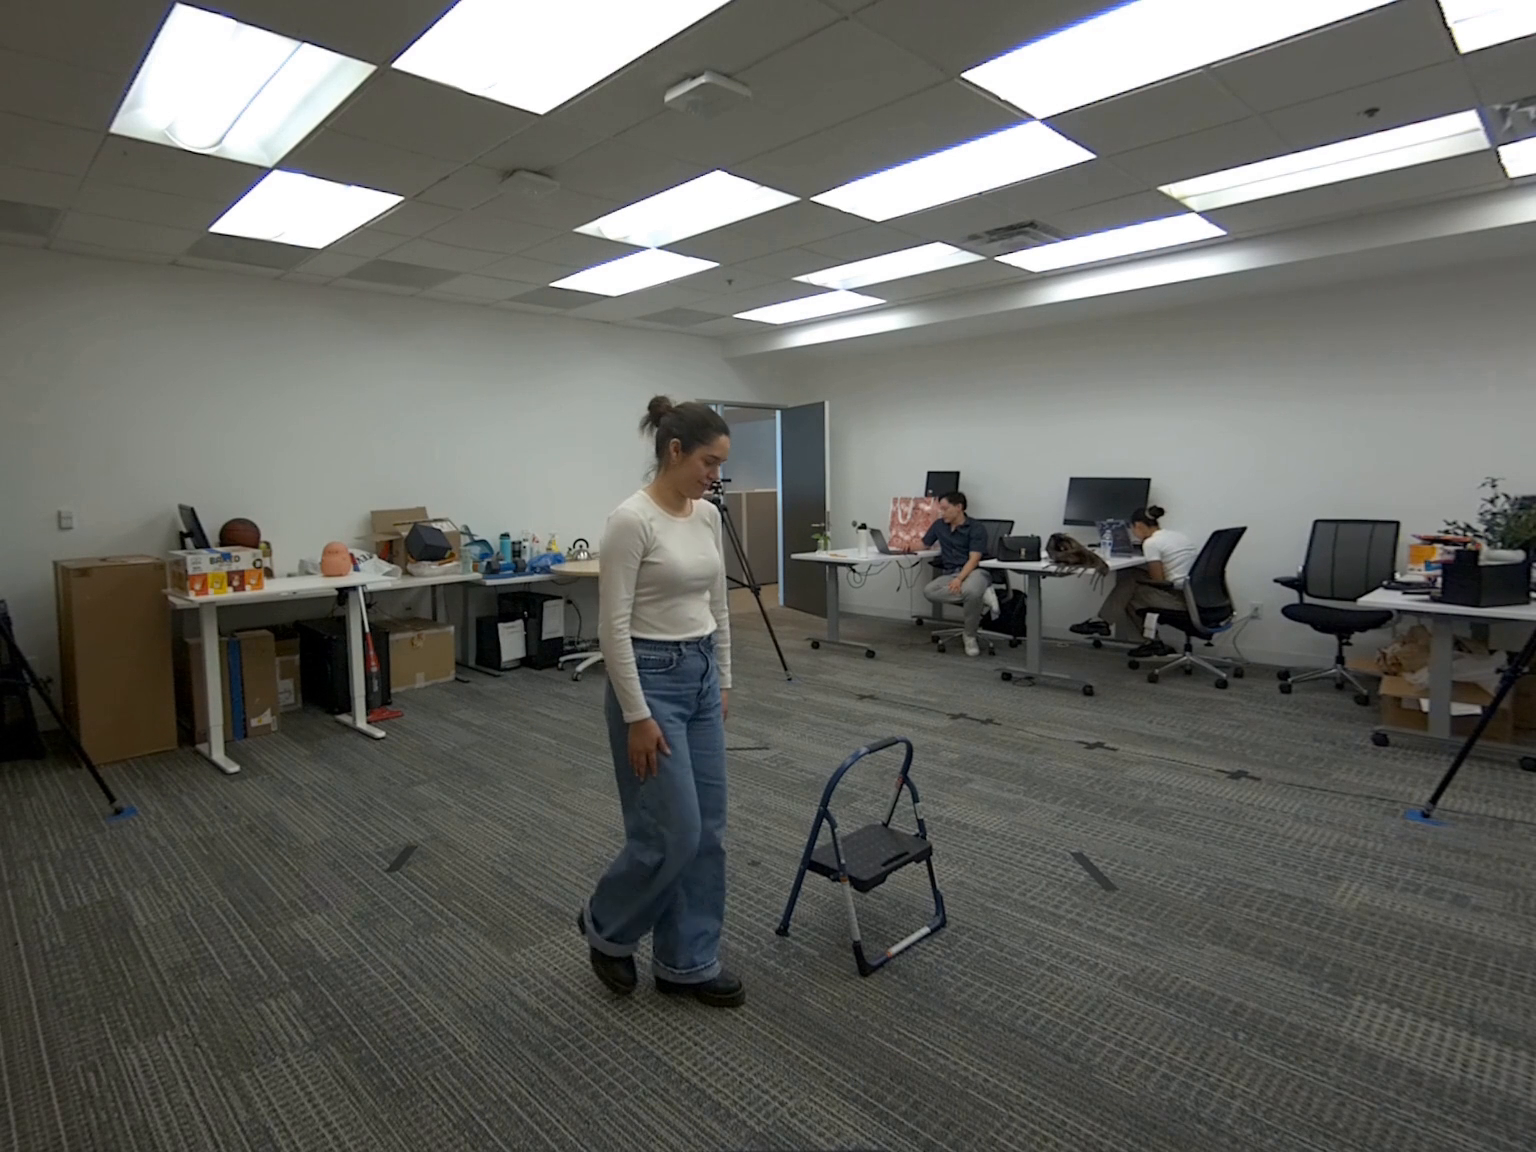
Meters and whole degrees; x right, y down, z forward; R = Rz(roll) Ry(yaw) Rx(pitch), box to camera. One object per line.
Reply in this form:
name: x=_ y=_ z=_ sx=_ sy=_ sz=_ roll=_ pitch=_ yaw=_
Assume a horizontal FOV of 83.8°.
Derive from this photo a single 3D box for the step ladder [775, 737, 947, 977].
step ladder: x=0.290 y=0.792 z=2.626 sx=0.360 sy=0.604 sz=0.419 roll=3 pitch=6 yaw=45
